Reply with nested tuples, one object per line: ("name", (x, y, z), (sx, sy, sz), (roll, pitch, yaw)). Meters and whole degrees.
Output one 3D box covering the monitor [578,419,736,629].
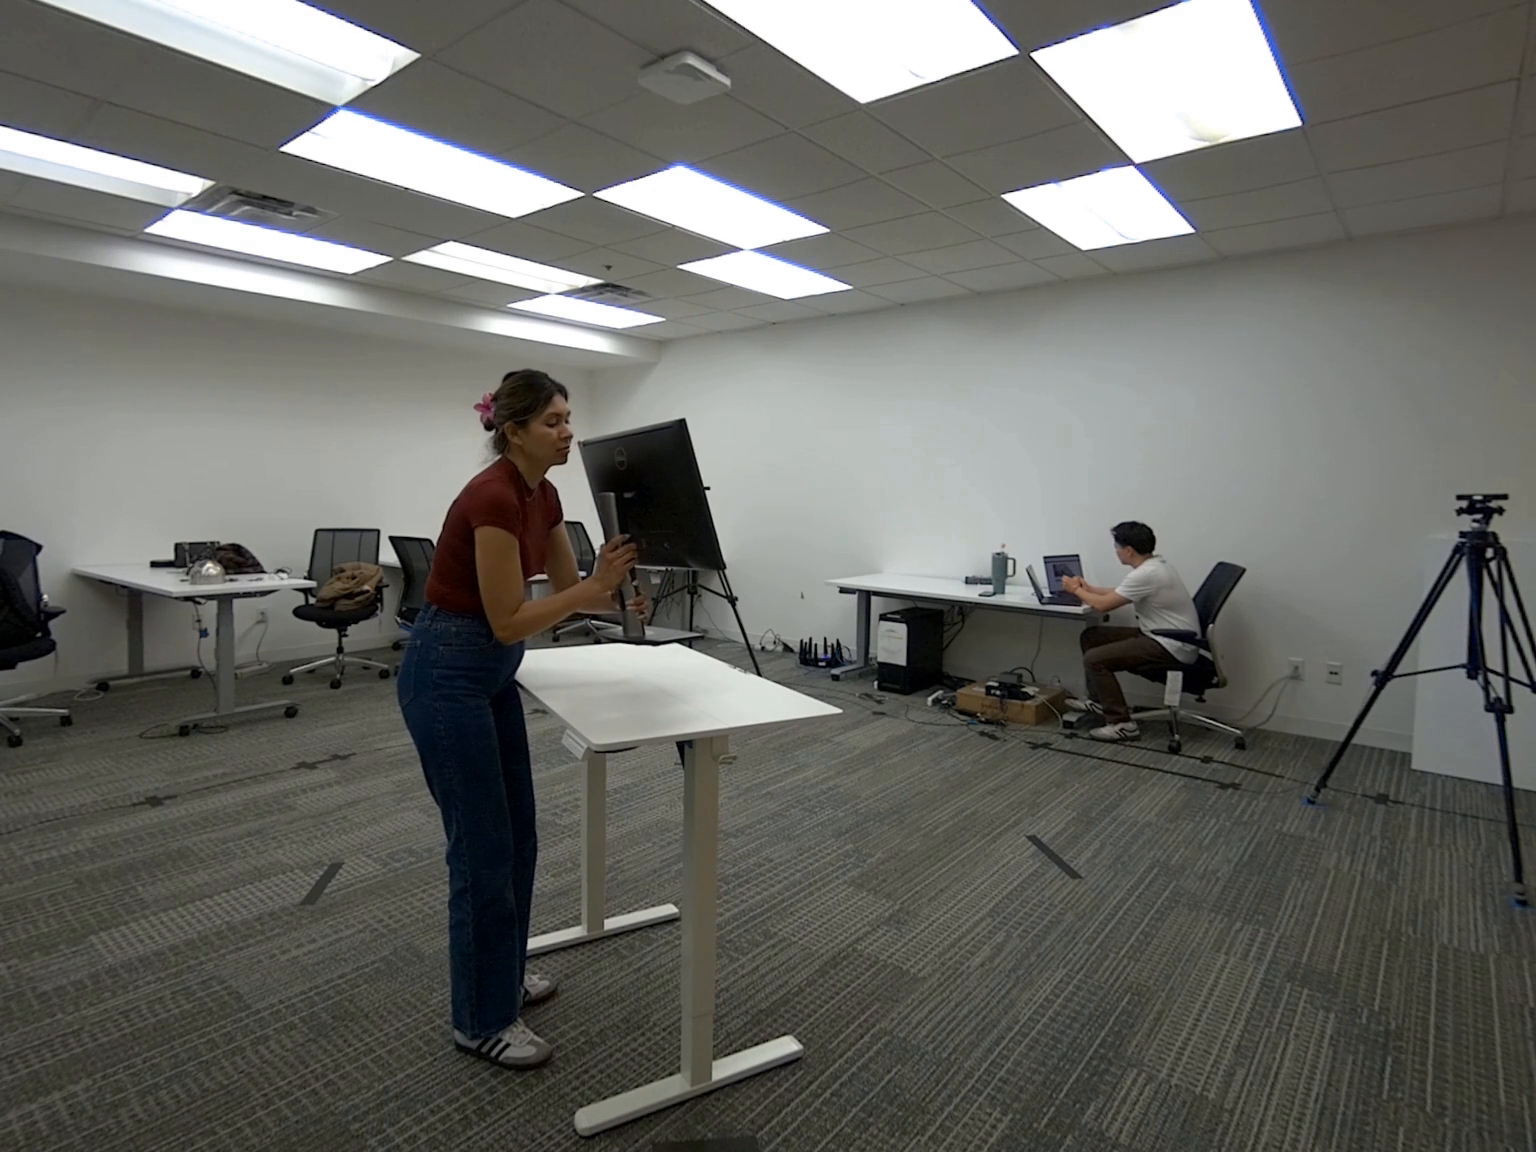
("monitor", (-0.334, -0.098, 2.080), (0.182, 0.521, 0.556), (-4, 3, -39))
